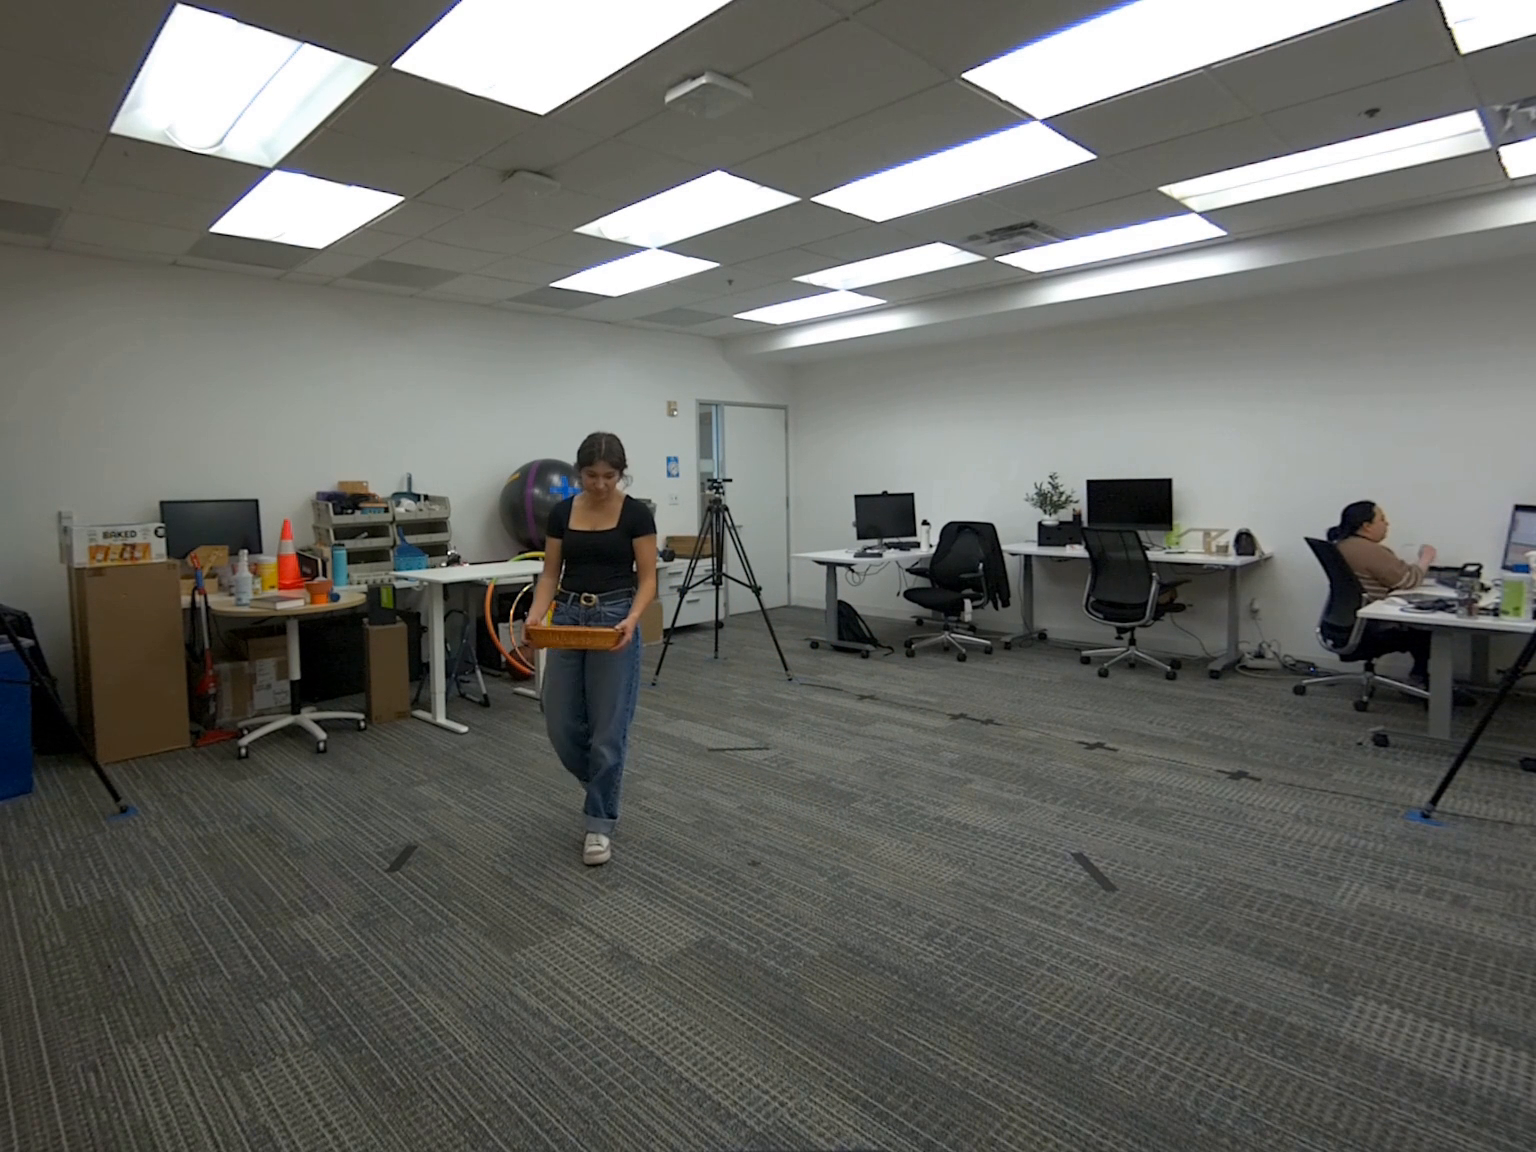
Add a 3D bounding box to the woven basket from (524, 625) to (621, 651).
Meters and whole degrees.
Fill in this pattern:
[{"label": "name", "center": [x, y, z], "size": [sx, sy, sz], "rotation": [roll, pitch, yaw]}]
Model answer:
[{"label": "woven basket", "center": [-0.689, 0.215, 3.002], "size": [0.355, 0.073, 0.249], "rotation": [2, 1, 11]}]
